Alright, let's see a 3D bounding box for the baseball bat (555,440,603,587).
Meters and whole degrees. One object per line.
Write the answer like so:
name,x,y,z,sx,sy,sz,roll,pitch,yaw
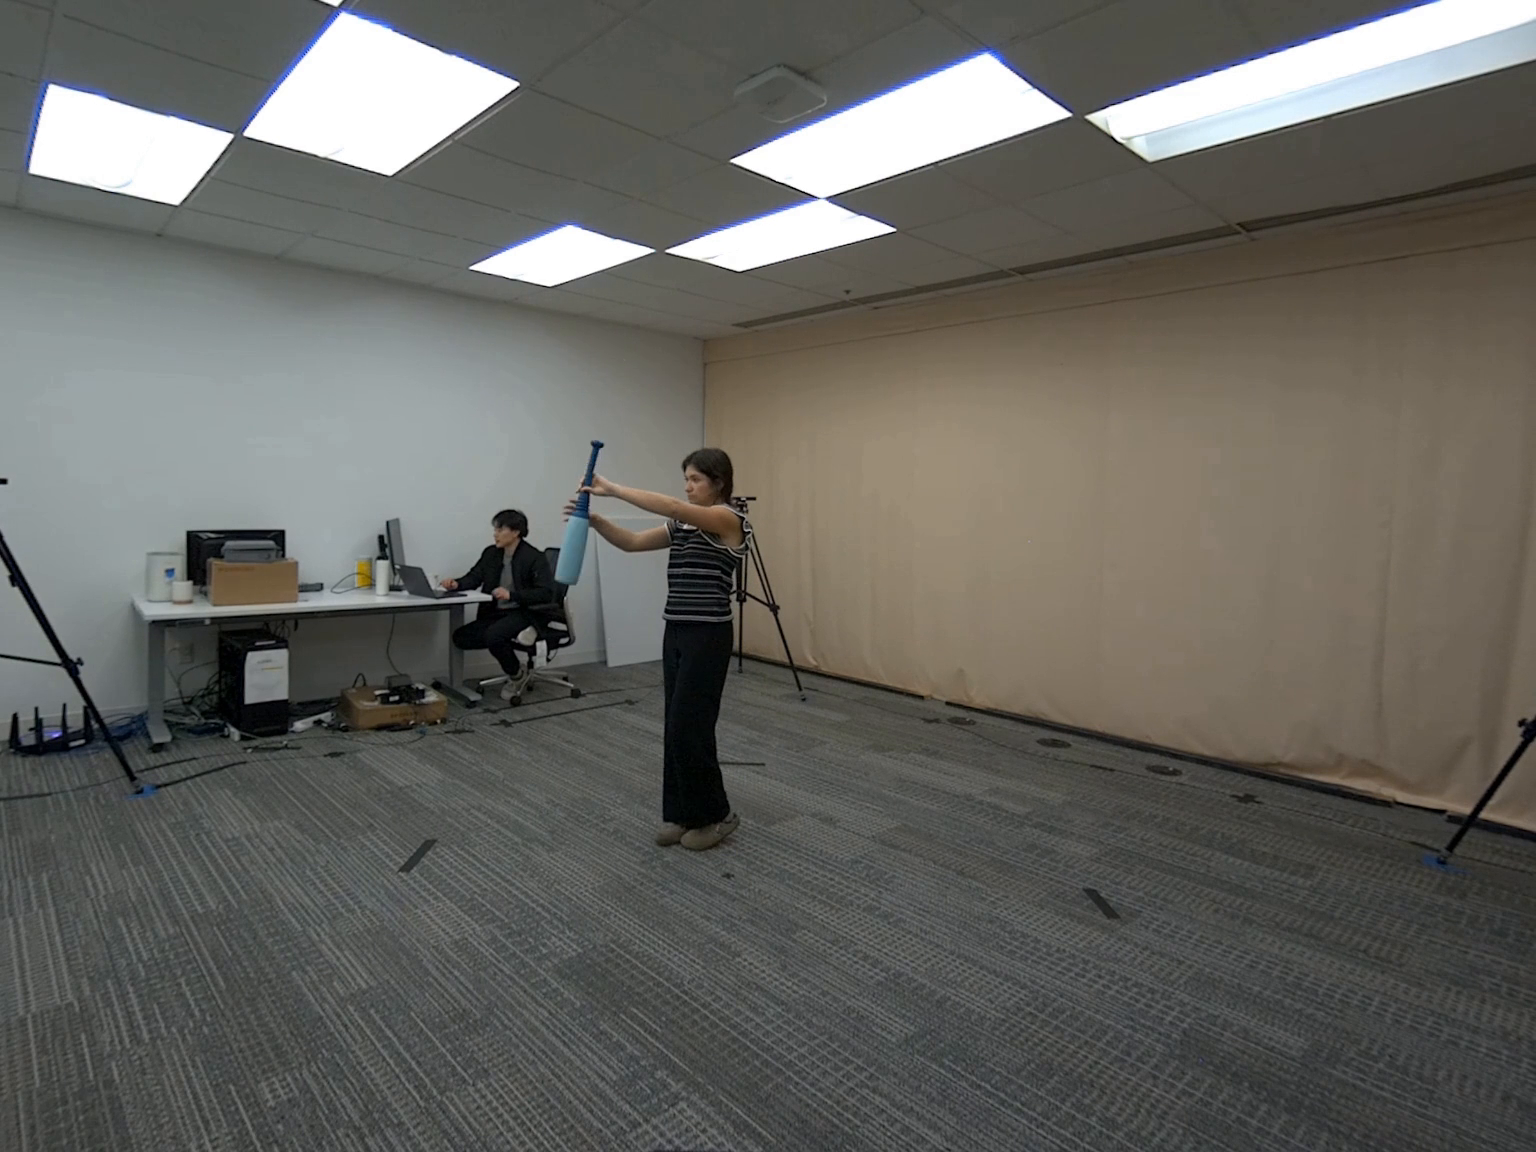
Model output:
baseball bat,-0.694,-0.241,3.101,0.089,0.543,0.089,10,-1,-1
